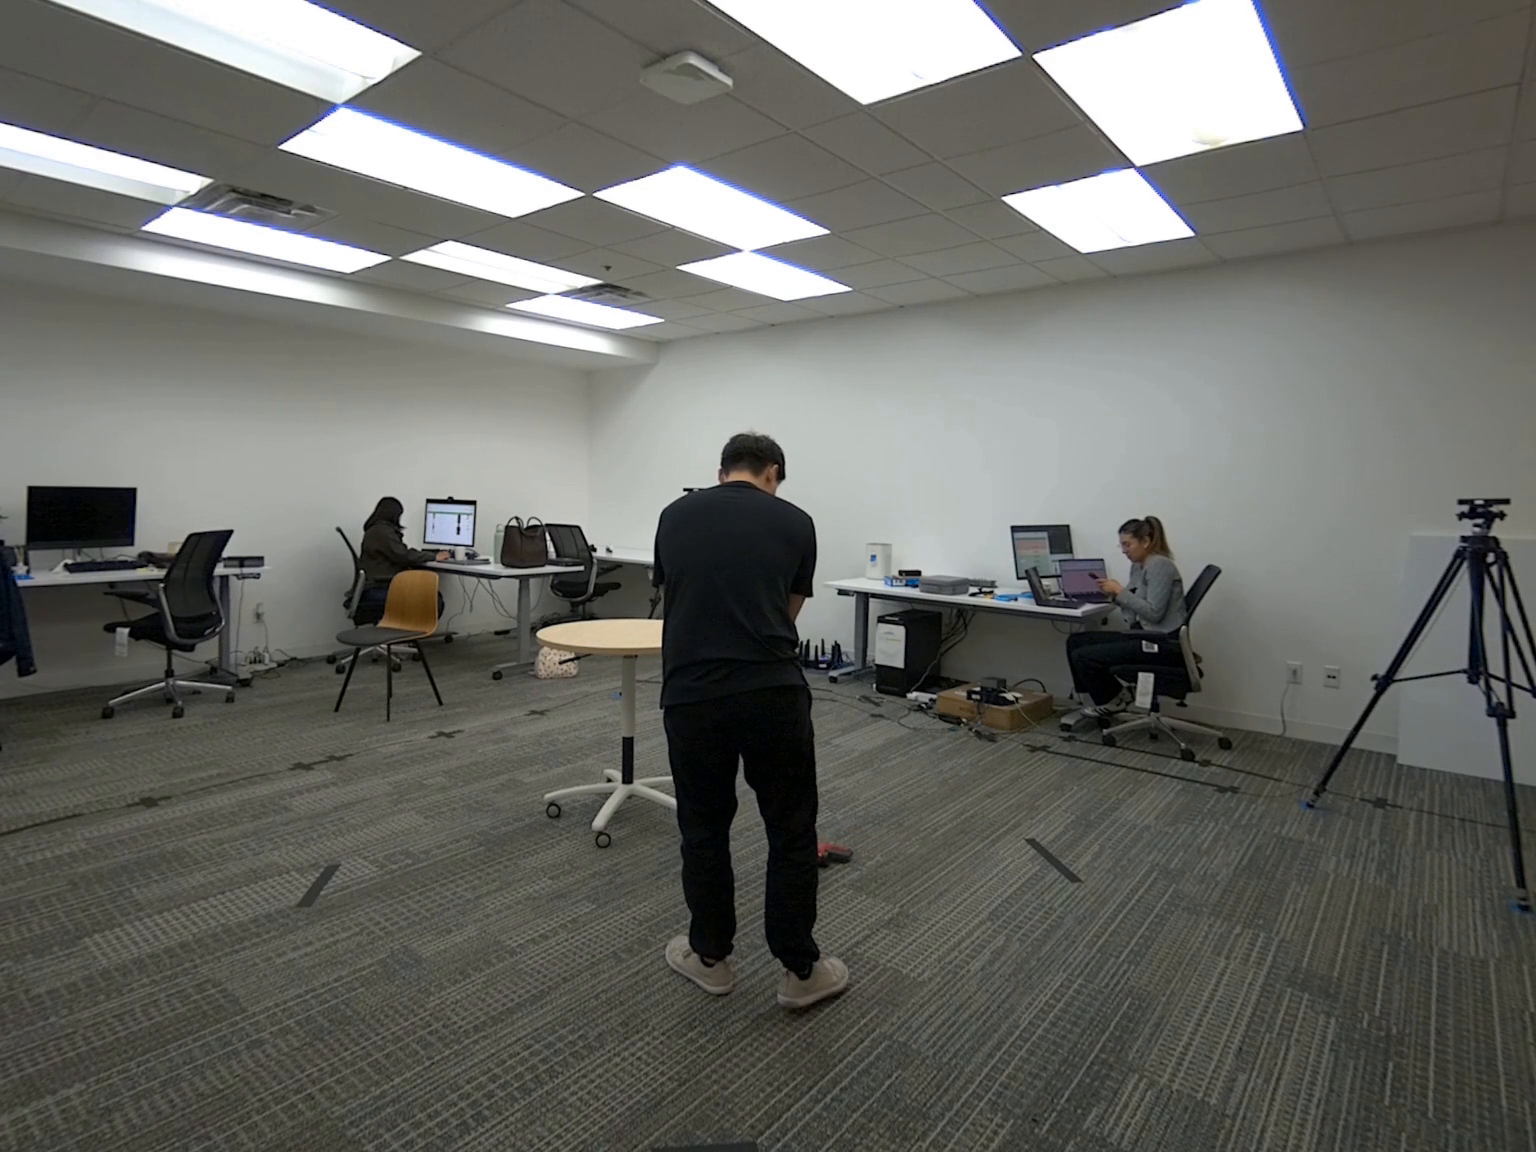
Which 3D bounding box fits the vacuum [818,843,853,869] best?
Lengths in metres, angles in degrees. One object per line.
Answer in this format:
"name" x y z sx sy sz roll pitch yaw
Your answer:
"vacuum" 0.049 0.705 2.893 0.257 0.147 1.010 -2 -44 19
